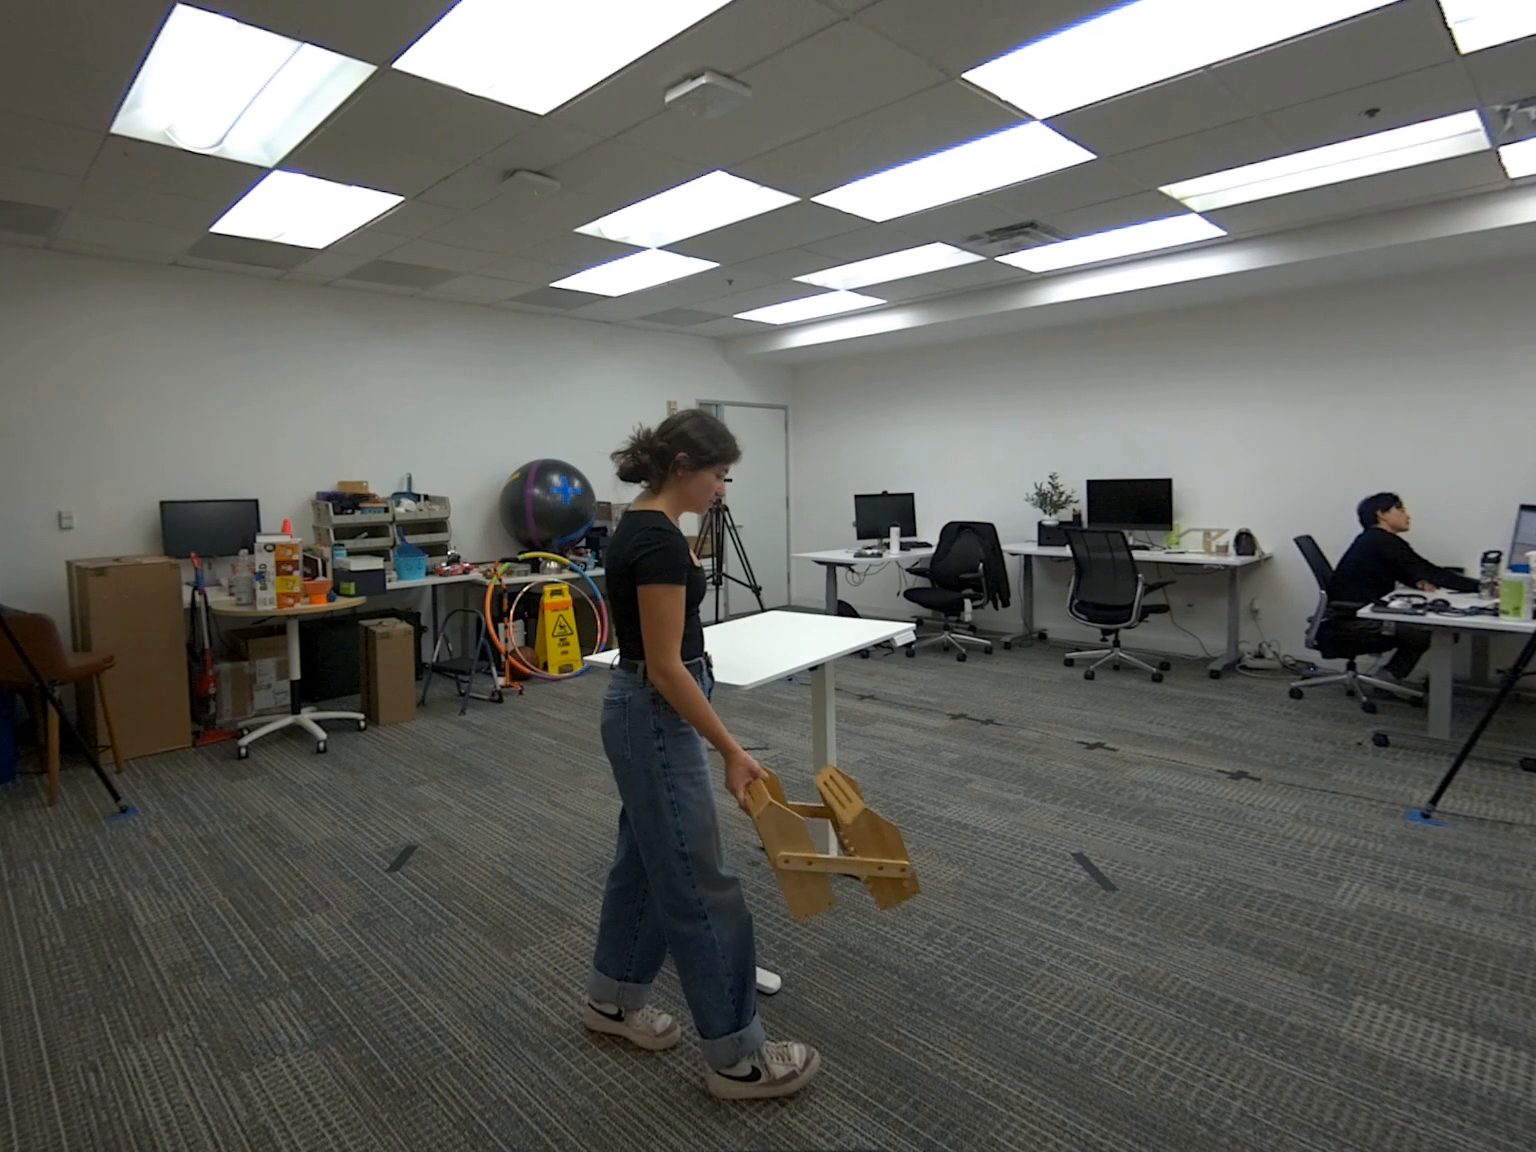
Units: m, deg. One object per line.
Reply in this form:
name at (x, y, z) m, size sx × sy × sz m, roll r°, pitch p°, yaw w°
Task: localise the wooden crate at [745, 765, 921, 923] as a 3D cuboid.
wooden crate at (0.116, 0.535, 1.837) m, size 0.272 × 0.300 × 0.328 m, roll -22°, pitch 7°, yaw -9°
